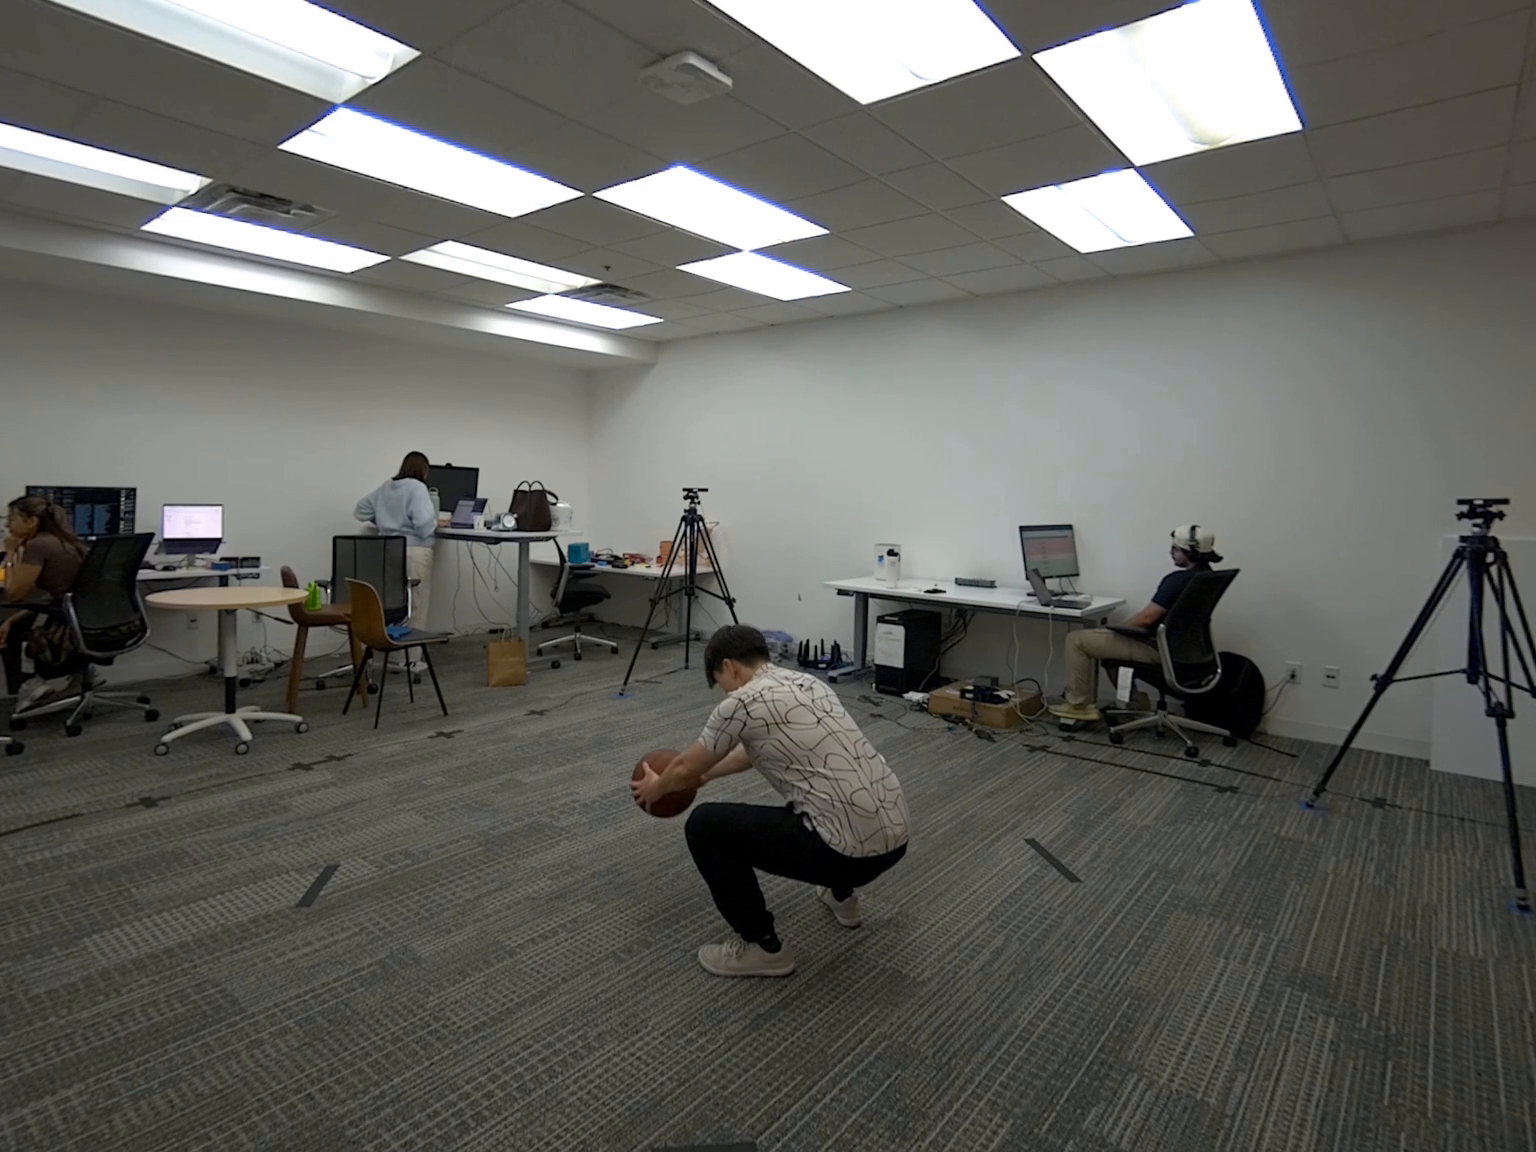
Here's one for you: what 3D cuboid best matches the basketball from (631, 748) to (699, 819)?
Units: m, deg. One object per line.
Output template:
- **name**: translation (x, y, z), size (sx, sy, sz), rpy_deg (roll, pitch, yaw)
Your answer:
- **basketball**: translation (-0.371, 0.725, 3.029), size (0.235, 0.235, 0.237), rpy_deg (1, 4, -2)
